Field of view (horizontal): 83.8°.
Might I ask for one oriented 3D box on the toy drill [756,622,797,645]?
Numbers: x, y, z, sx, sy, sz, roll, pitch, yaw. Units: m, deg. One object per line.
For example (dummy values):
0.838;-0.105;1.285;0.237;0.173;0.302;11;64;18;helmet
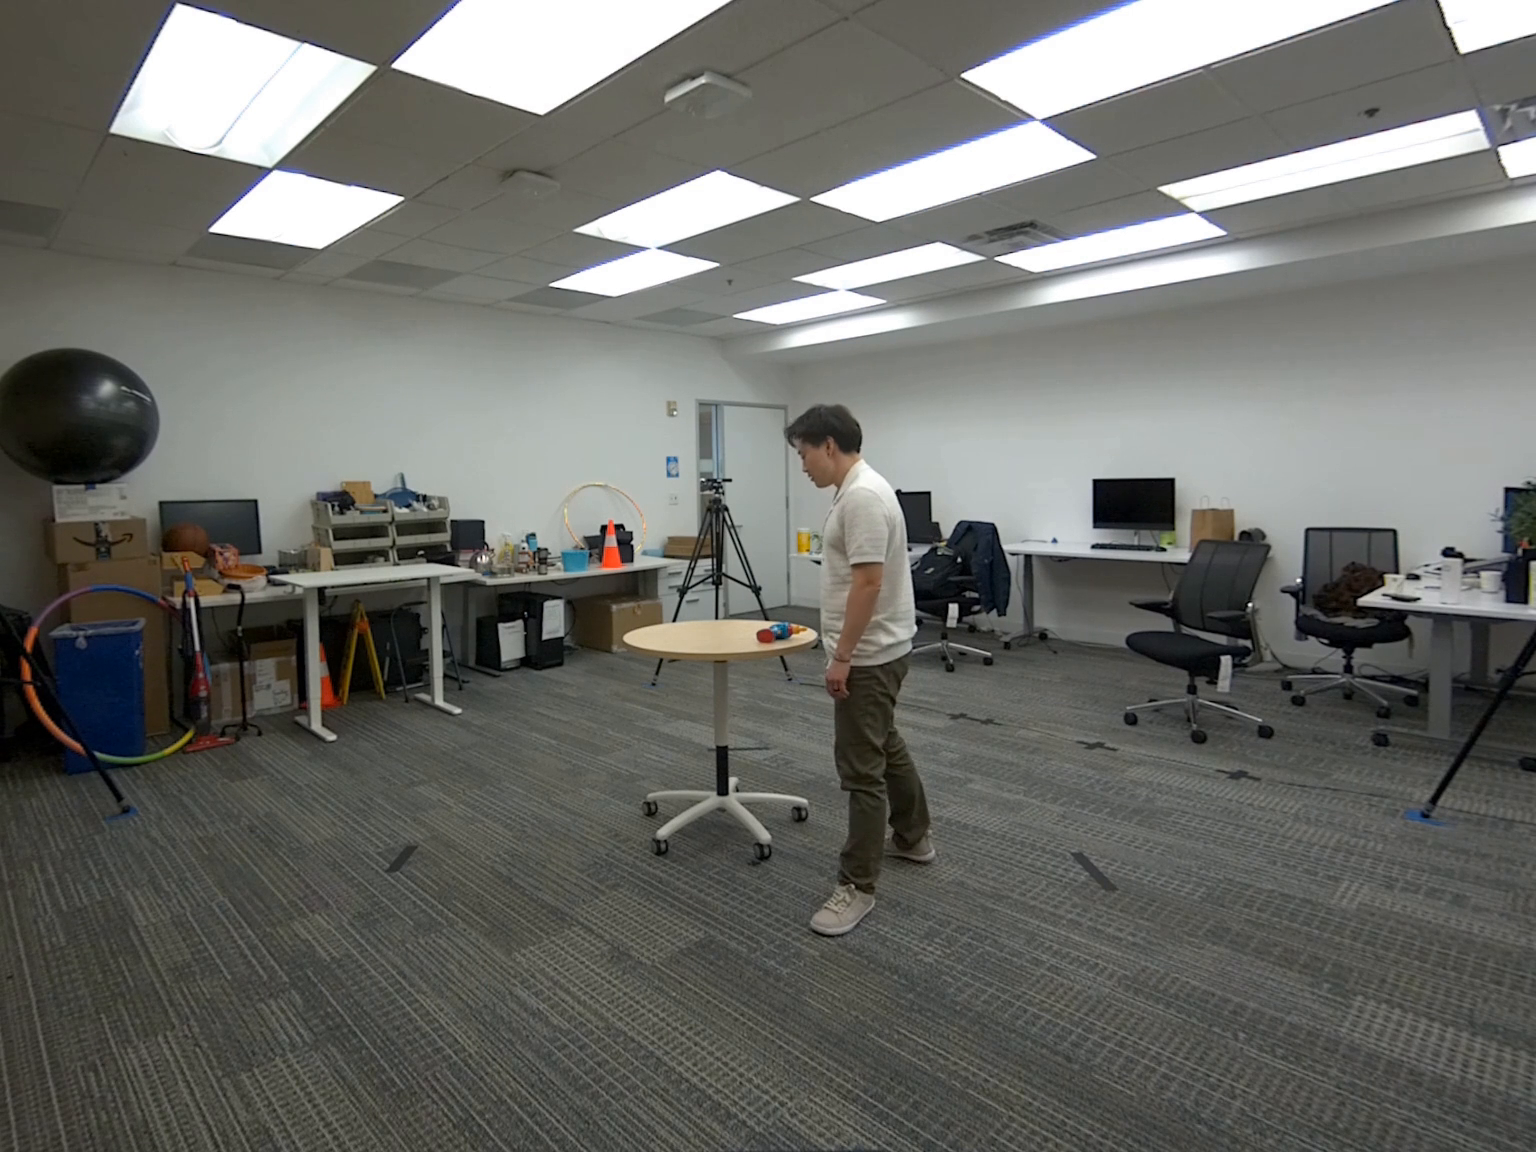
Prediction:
0.056;0.214;3.223;0.174;0.061;0.143;-5;5;29;toy drill
